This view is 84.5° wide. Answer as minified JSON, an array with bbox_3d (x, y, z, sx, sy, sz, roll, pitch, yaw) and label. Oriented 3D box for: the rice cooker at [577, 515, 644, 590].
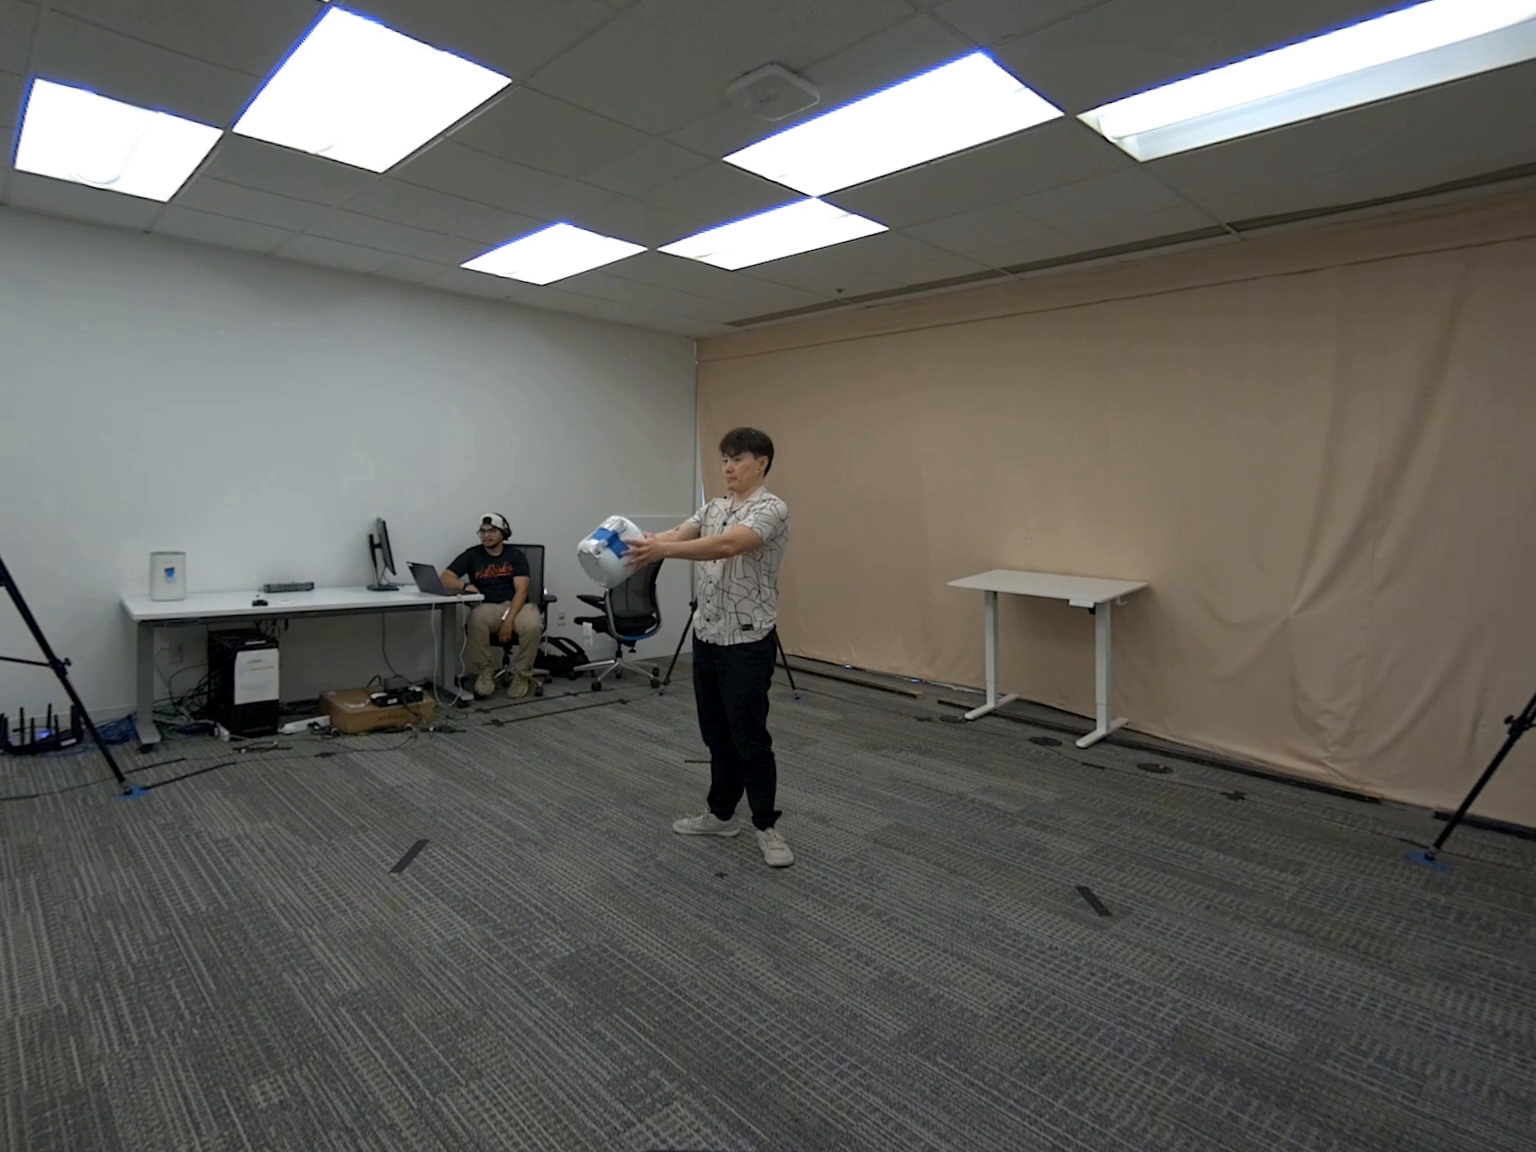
[{"bbox_3d":[-0.553,-0.094,3.054,0.232,0.216,0.223,-40,26,-29],"label":"rice cooker"}]
